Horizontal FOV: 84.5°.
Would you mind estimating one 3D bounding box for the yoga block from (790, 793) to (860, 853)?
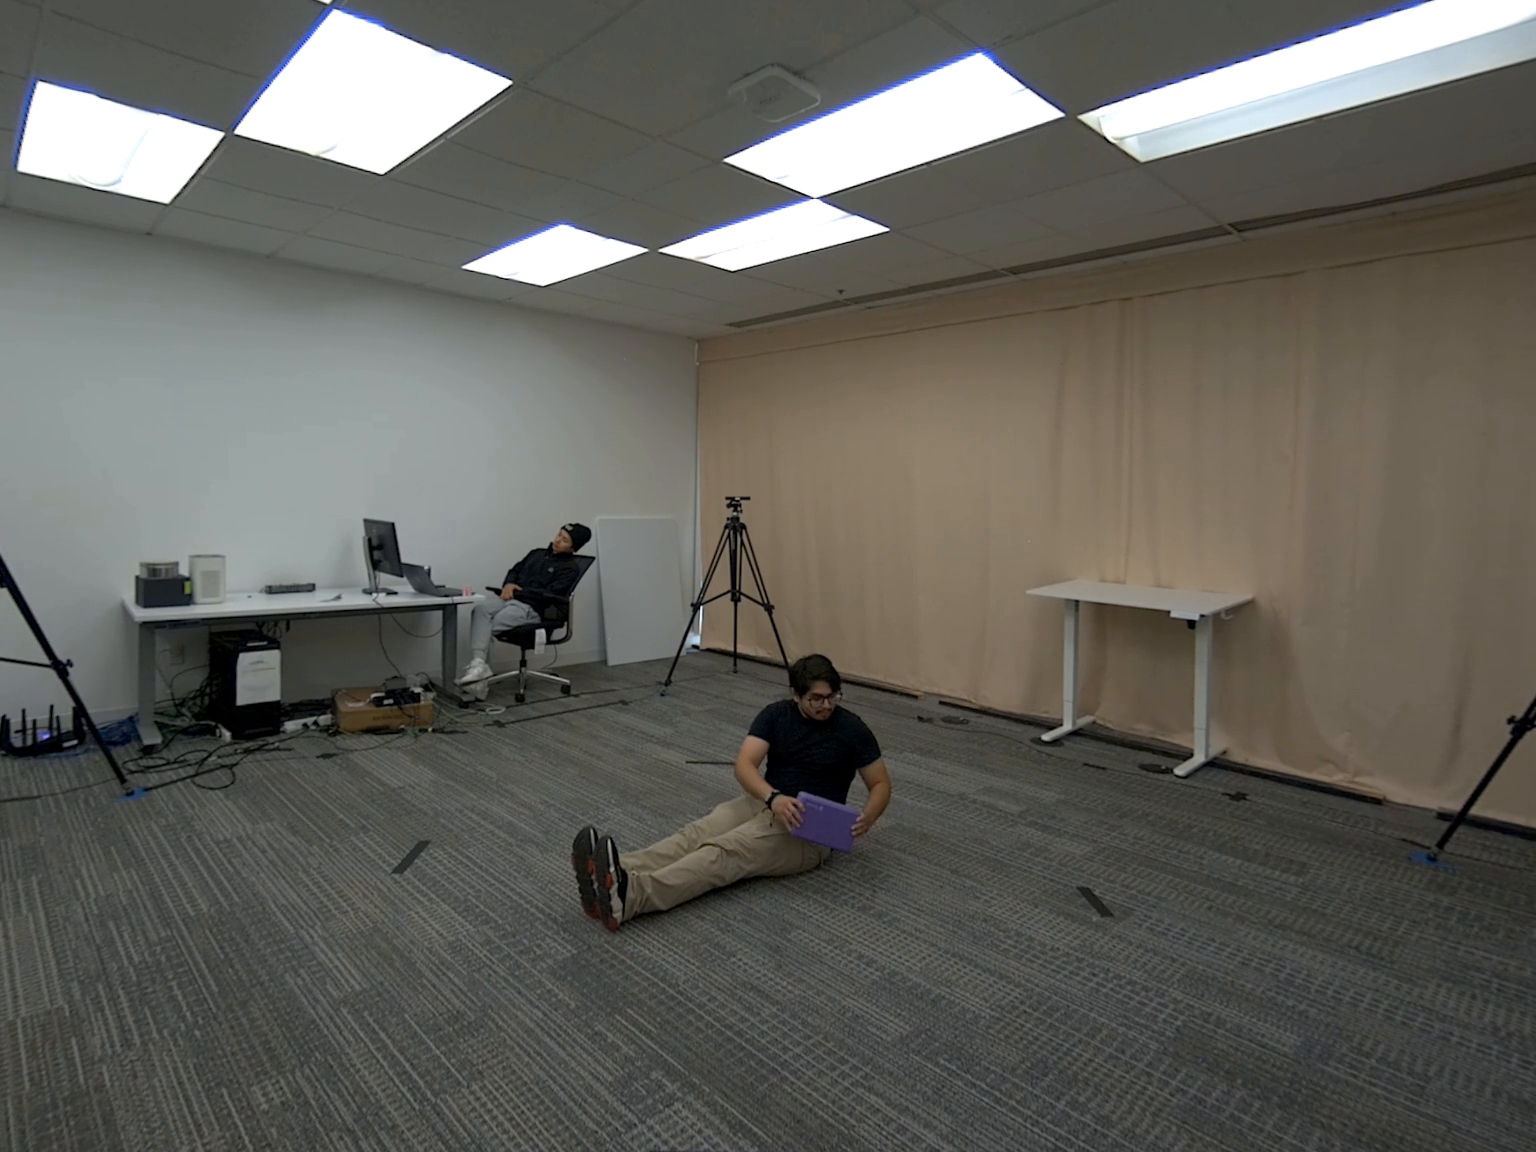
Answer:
[{"bbox_3d":[0.185,0.883,3.017,0.229,0.149,0.076,17,-1,-3],"label":"yoga block"}]
